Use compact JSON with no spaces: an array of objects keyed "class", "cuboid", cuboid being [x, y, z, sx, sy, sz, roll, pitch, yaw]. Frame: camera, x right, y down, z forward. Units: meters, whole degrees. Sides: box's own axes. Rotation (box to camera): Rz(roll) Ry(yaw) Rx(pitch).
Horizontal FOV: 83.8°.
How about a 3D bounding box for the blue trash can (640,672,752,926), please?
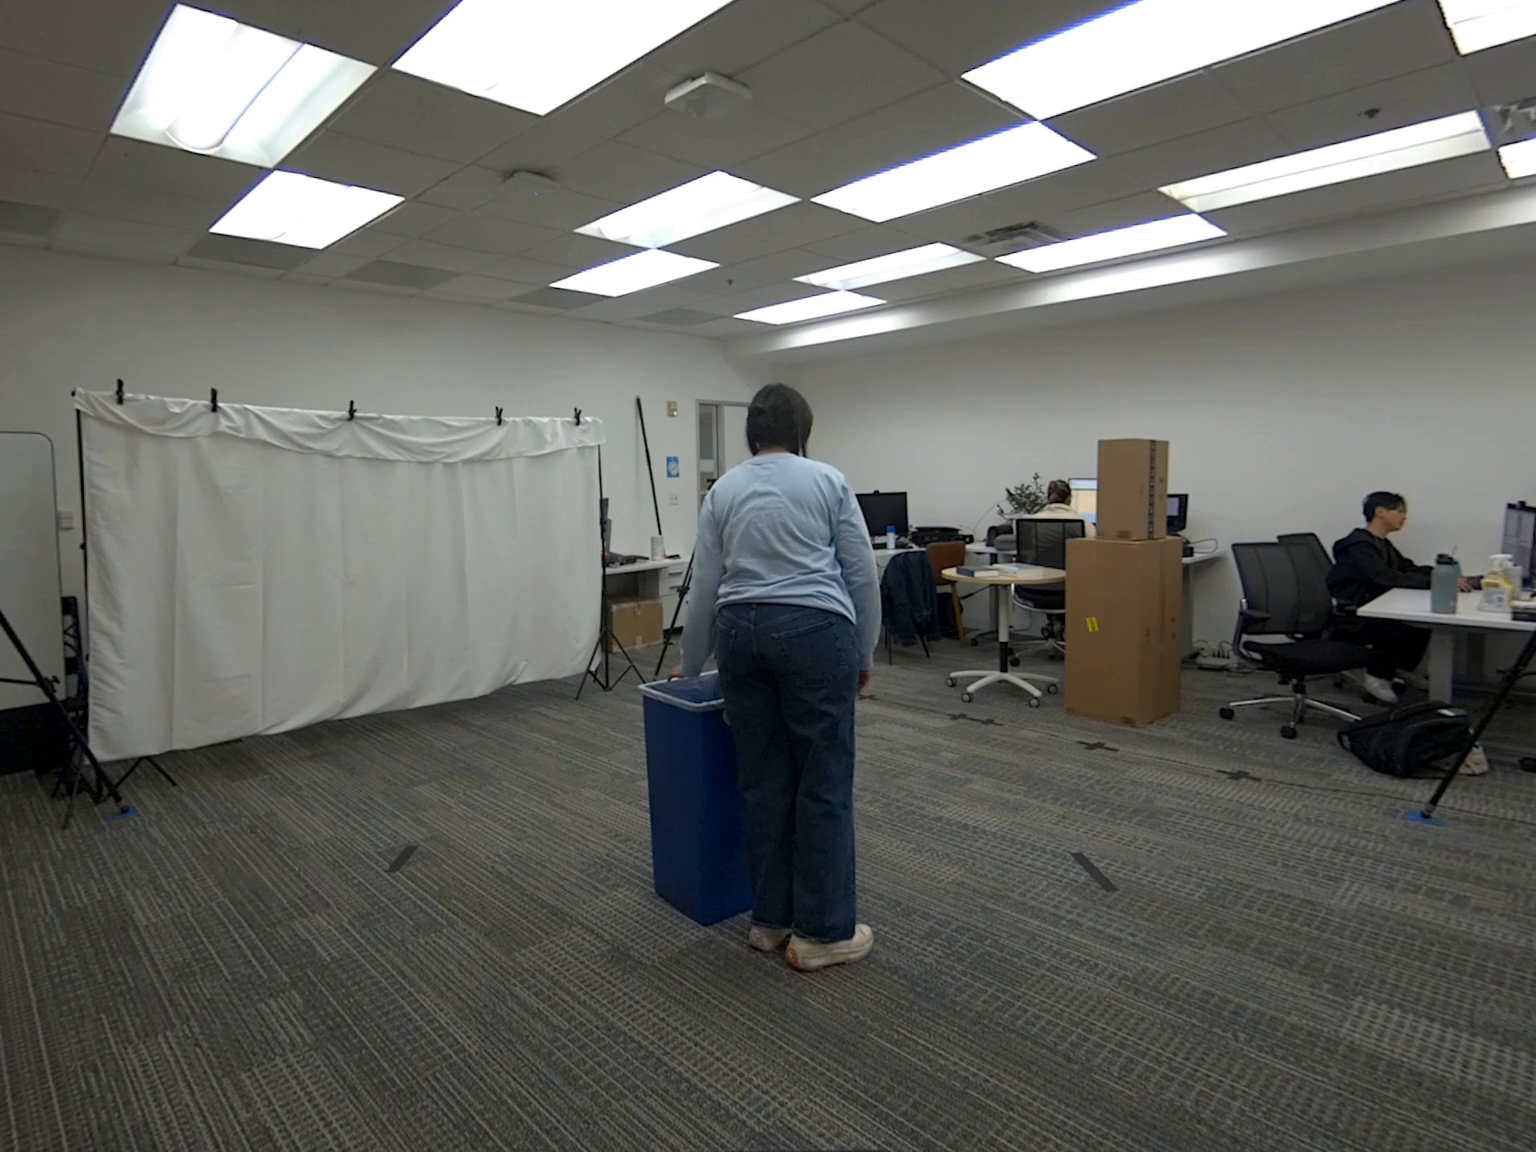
[{"class":"blue trash can","cuboid":[-0.188,0.718,2.859,0.368,0.711,0.385,-3,5,-38]}]
